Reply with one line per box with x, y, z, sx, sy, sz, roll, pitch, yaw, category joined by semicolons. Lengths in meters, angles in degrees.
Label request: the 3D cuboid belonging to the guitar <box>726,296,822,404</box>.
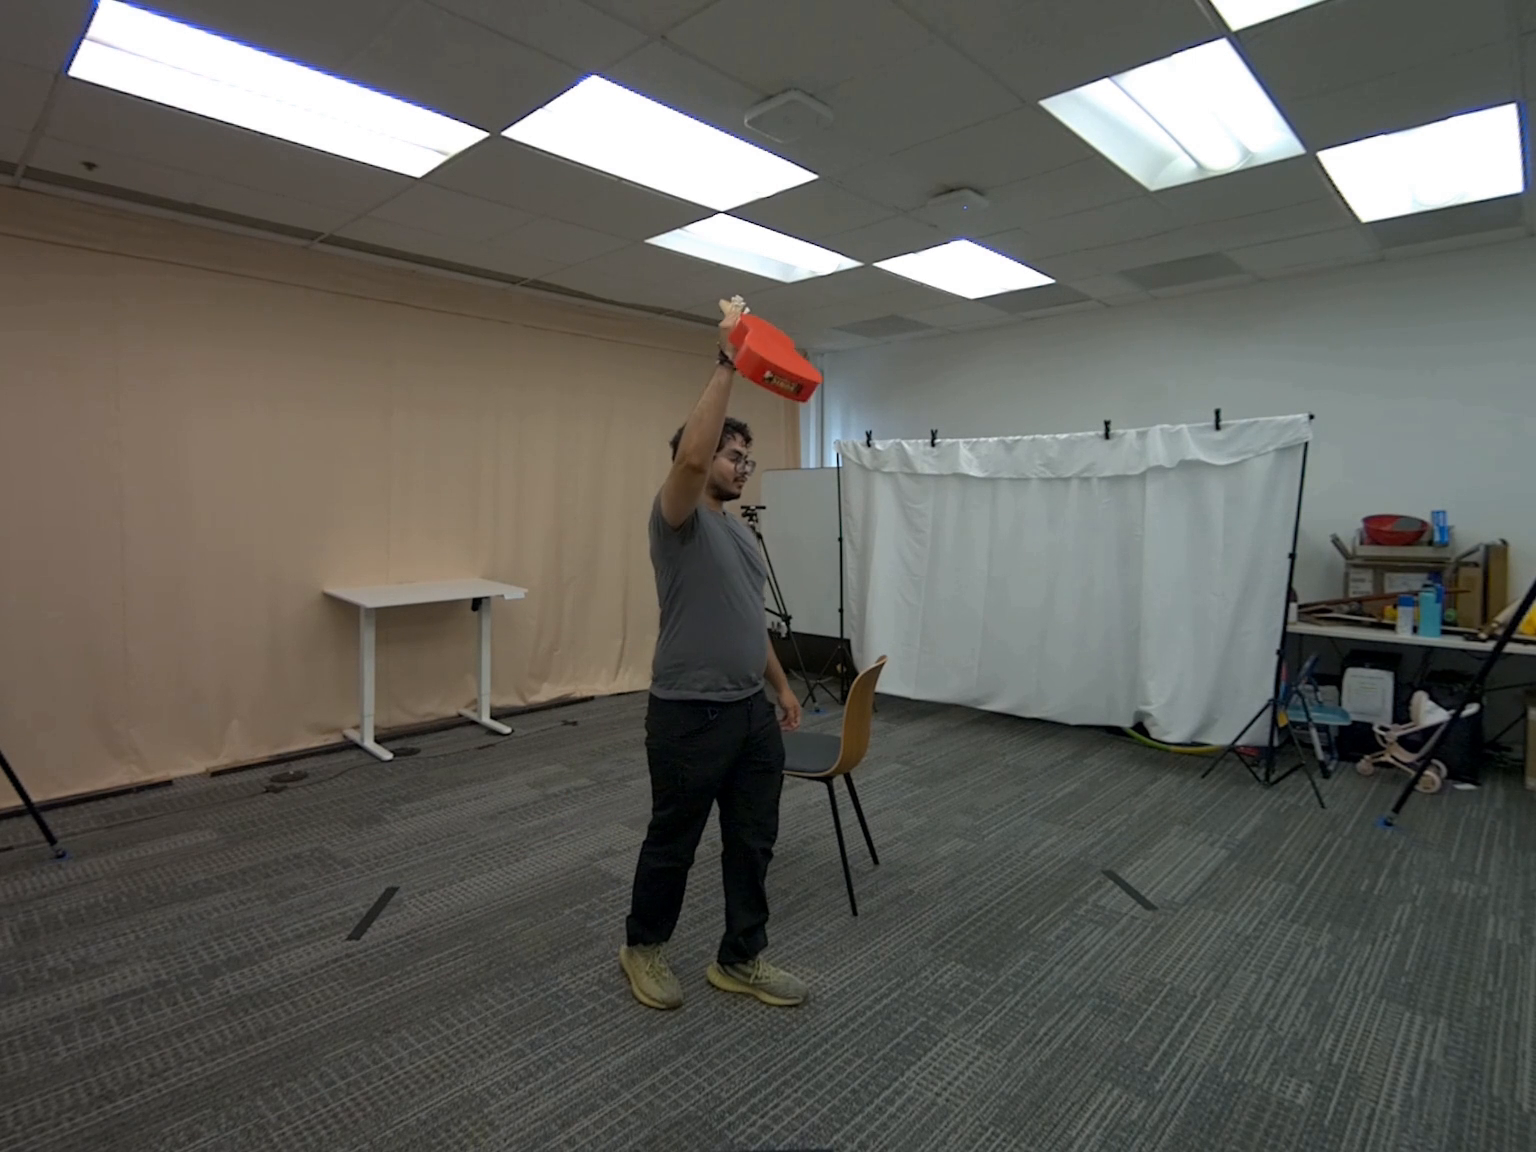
-0.040;-0.562;1.948;0.187;0.071;0.514;10;35;-36;guitar
